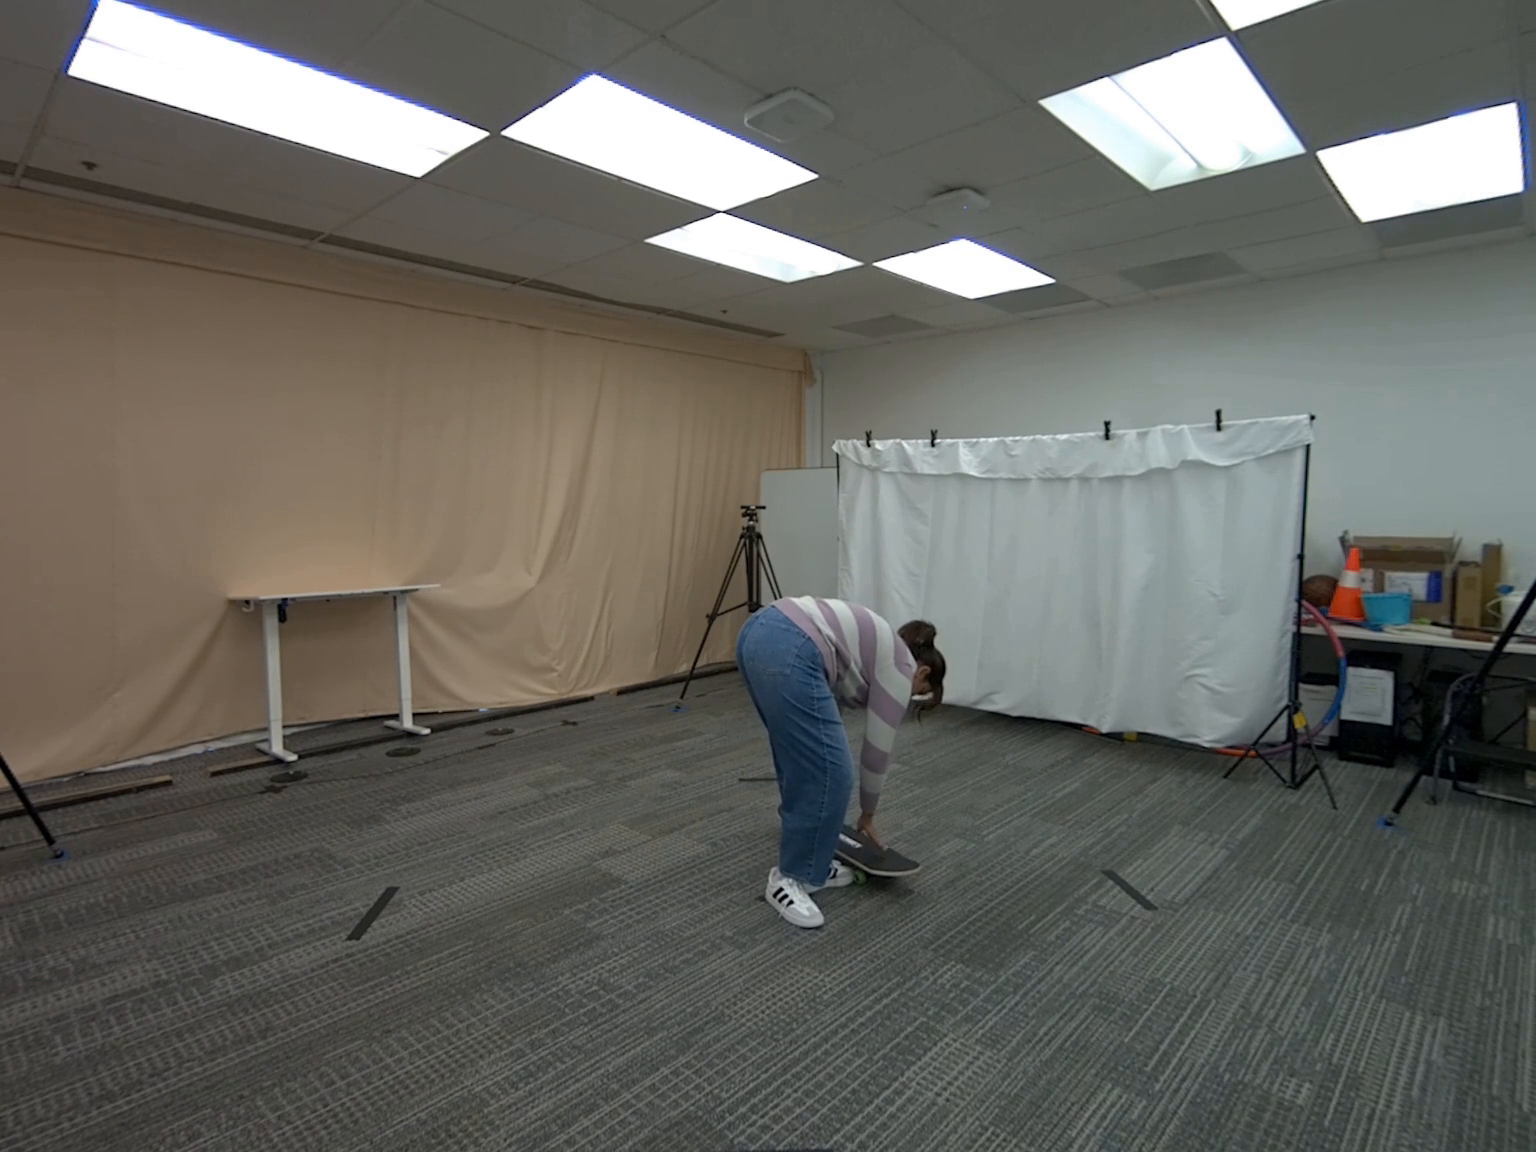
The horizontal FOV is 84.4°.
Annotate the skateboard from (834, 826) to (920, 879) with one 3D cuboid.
[{"bbox_3d":[0.297,1.053,3.306,0.188,0.110,0.809,-2,5,-31],"label":"skateboard"}]
